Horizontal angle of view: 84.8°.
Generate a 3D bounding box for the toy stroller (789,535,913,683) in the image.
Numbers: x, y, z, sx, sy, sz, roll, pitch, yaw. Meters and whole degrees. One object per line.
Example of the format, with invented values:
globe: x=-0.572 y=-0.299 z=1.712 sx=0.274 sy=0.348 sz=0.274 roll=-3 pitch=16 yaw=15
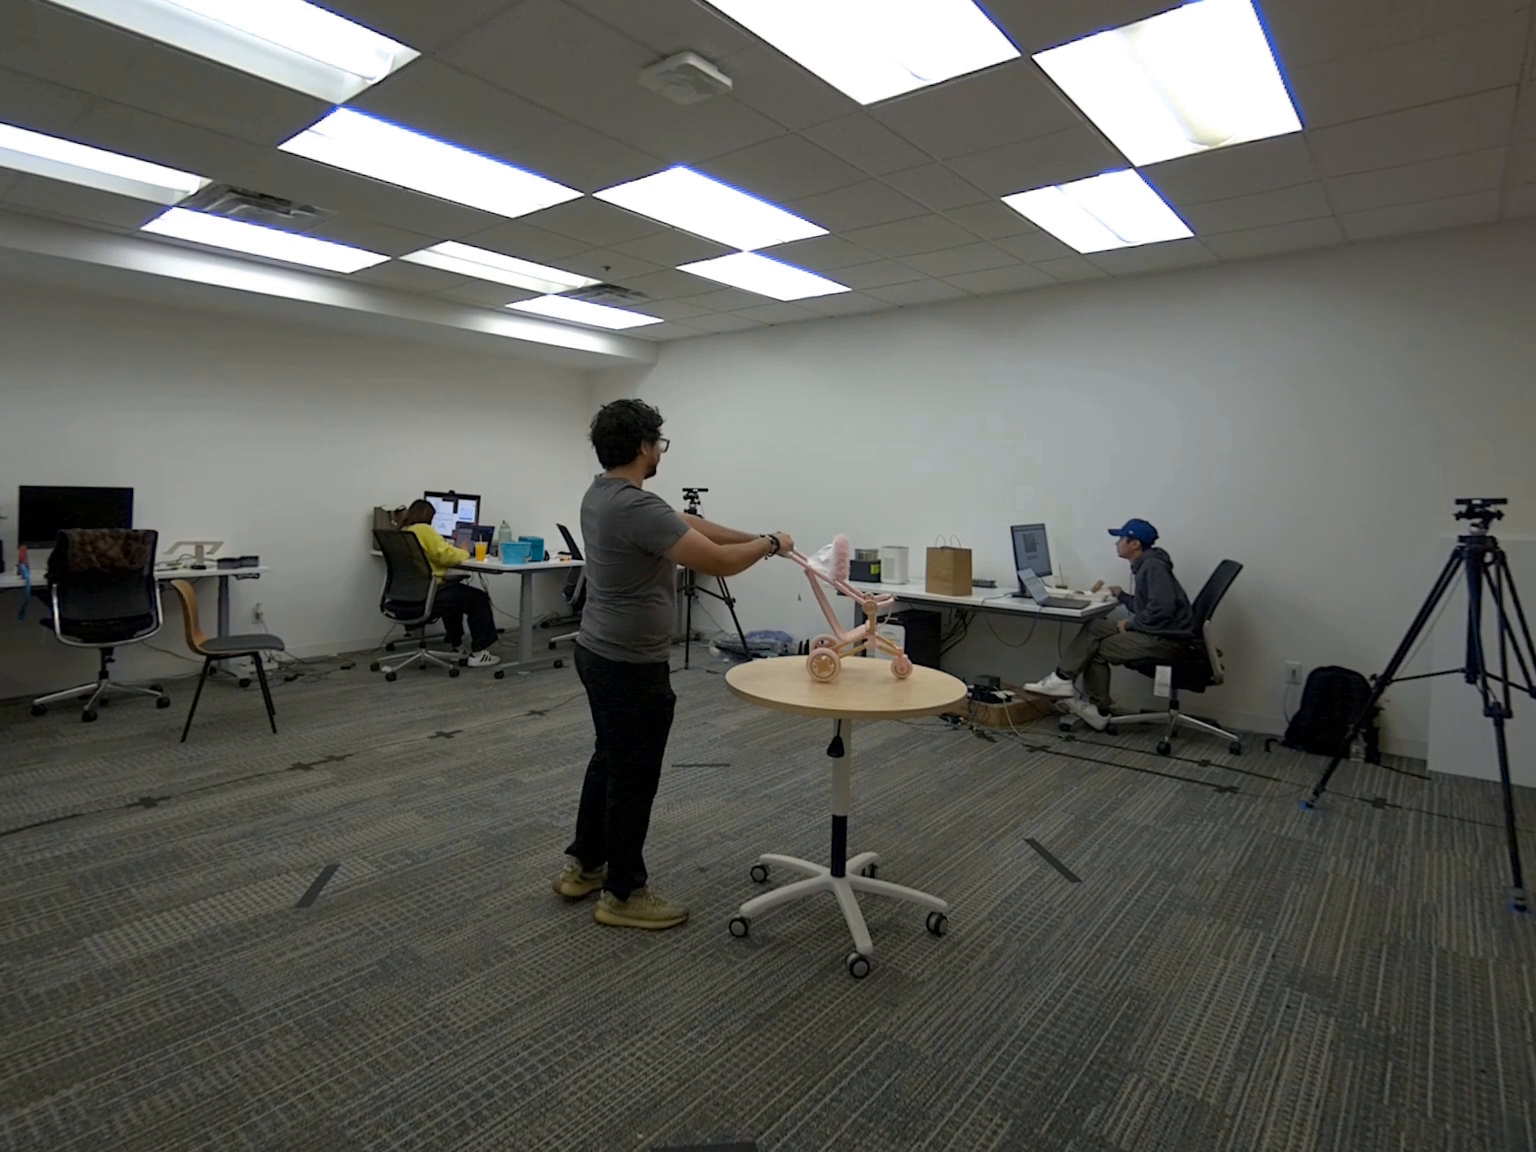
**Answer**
toy stroller: x=0.250 y=0.106 z=2.788 sx=0.345 sy=0.535 sz=0.279 roll=-13 pitch=1 yaw=12
